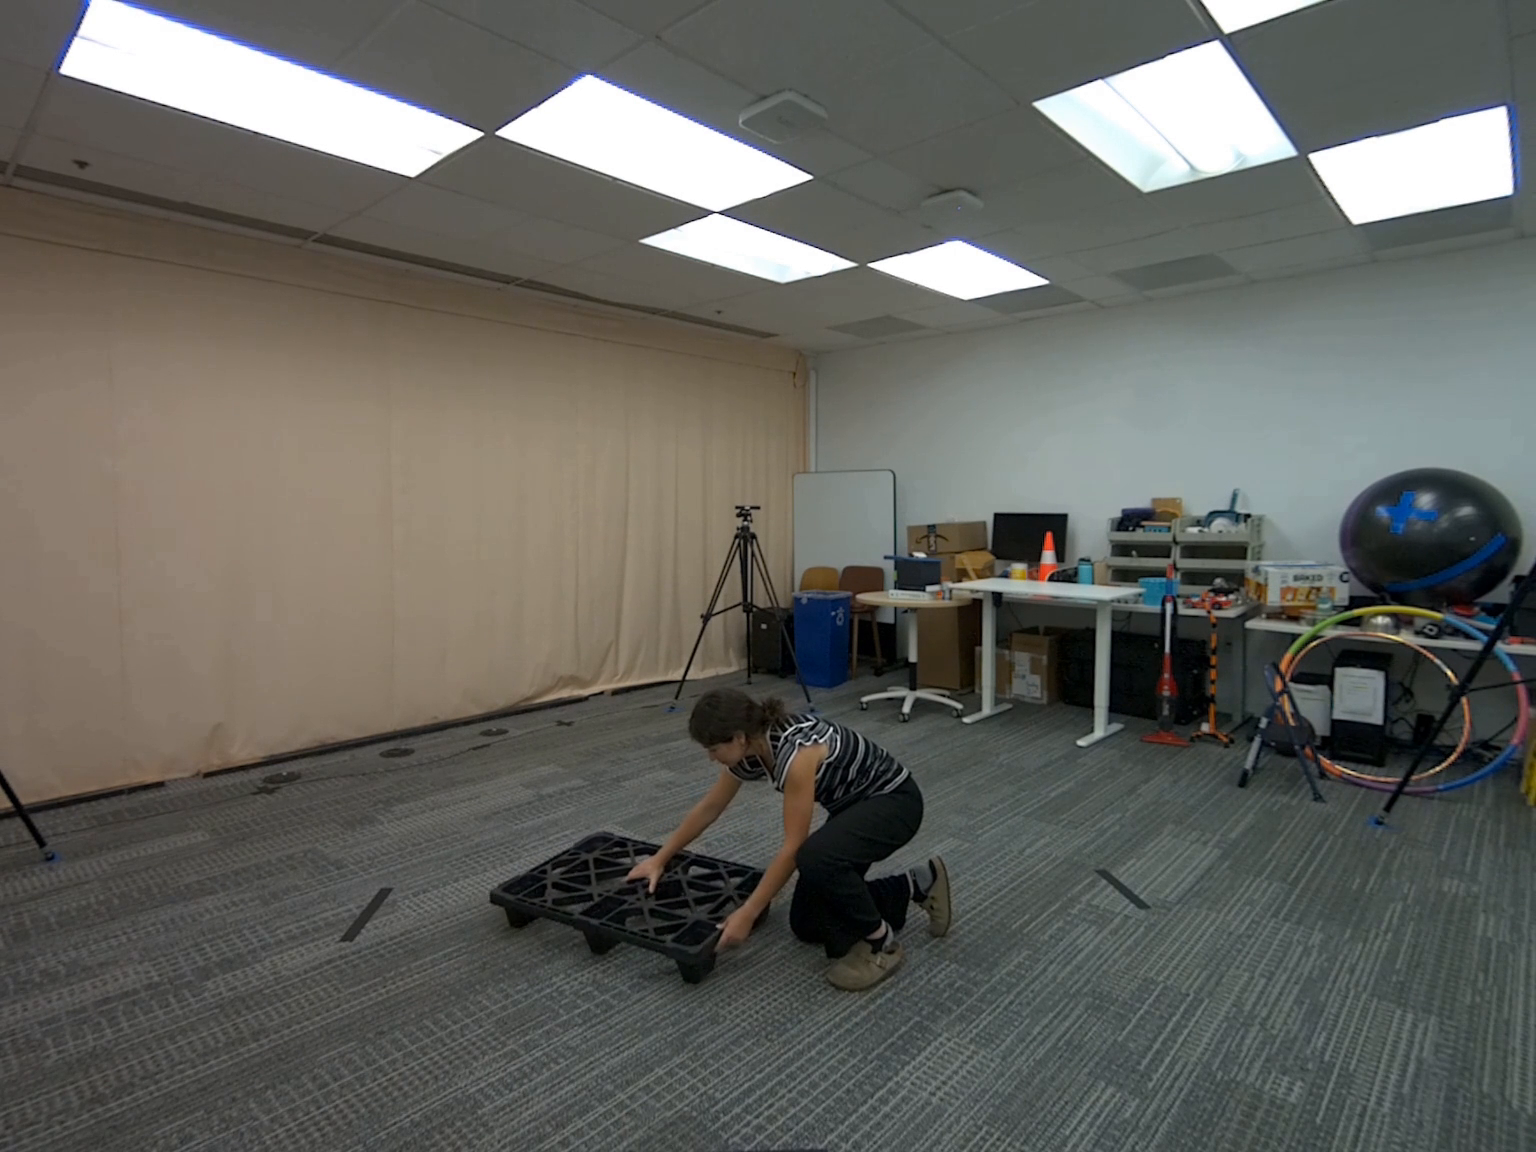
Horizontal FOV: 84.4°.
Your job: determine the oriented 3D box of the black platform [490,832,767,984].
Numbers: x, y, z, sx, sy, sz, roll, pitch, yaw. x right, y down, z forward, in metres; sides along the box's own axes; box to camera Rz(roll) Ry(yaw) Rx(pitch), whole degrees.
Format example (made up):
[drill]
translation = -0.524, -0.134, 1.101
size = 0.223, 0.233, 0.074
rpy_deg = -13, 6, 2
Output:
[black platform]
translation = -0.432, 1.093, 2.828
size = 0.828, 0.143, 0.590
rpy_deg = 2, 5, 28
